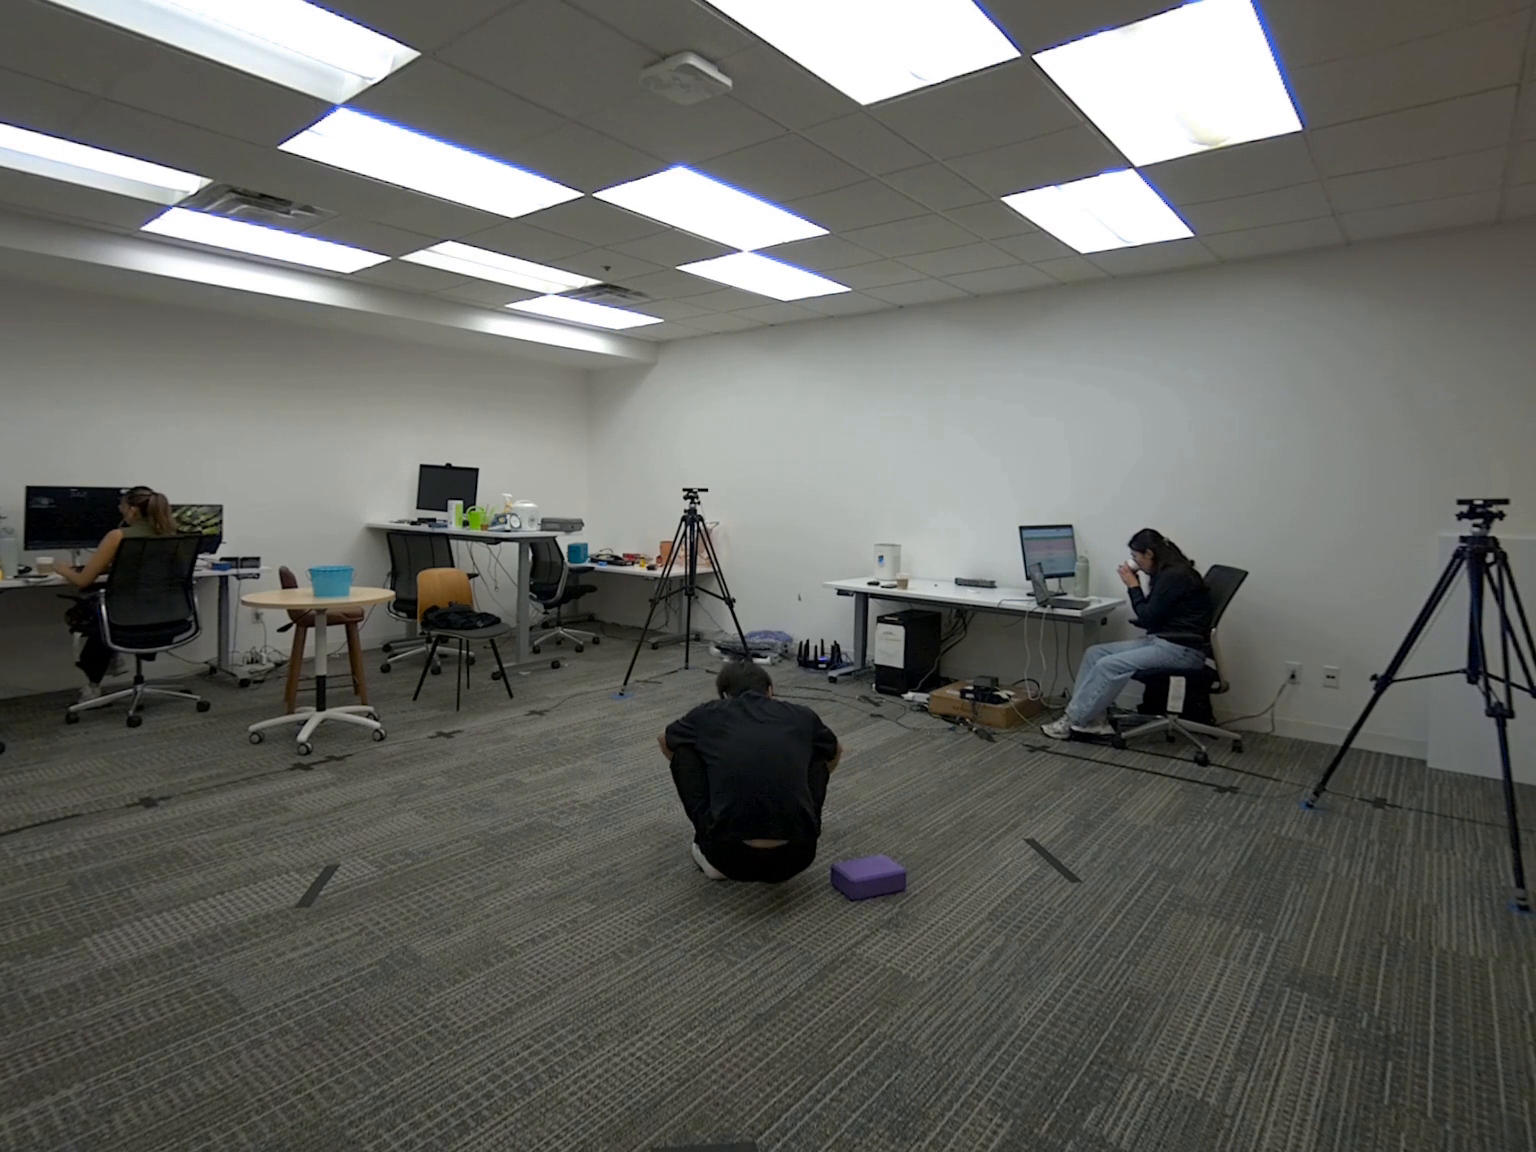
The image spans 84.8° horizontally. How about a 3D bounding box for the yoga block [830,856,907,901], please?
[{"bbox_3d":[0.345,1.056,2.991,0.224,0.076,0.153,-1,5,-24],"label":"yoga block"}]
